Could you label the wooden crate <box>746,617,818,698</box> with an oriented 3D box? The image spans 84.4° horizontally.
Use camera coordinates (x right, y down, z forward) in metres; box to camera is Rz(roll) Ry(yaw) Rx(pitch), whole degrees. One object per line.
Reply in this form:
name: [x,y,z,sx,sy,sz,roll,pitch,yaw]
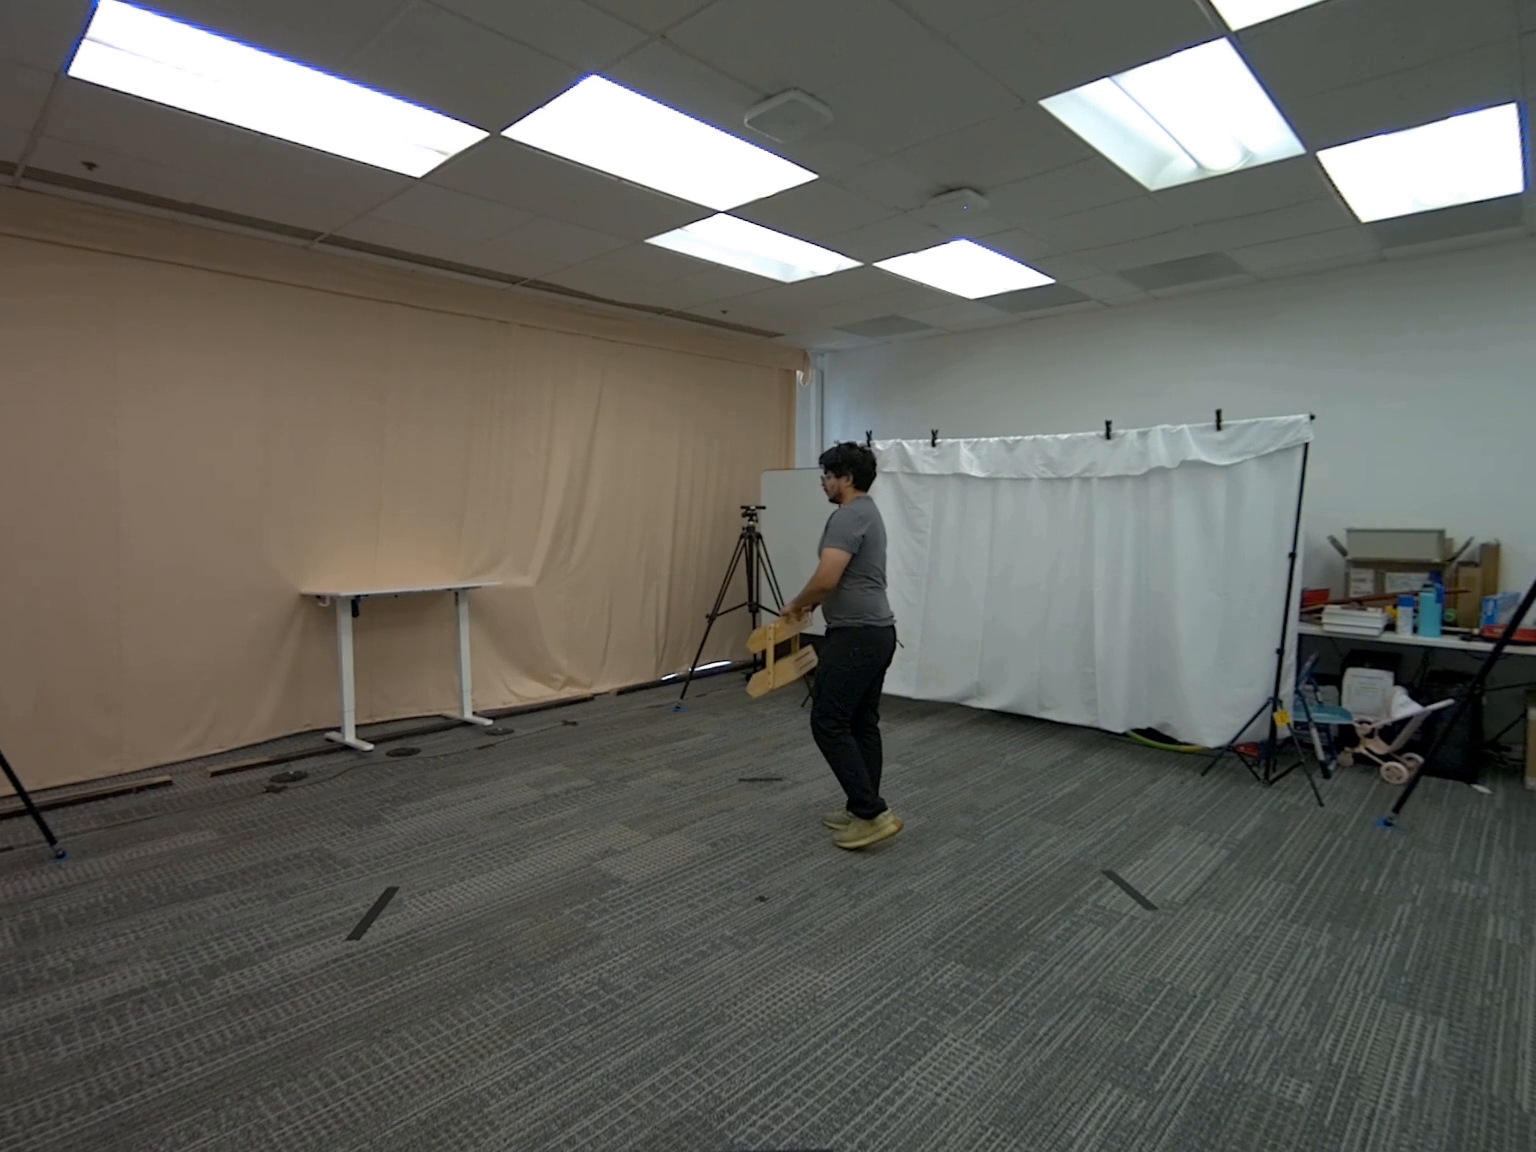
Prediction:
wooden crate: [0.045,0.336,3.739,0.306,0.275,0.318,-27,-5,23]
